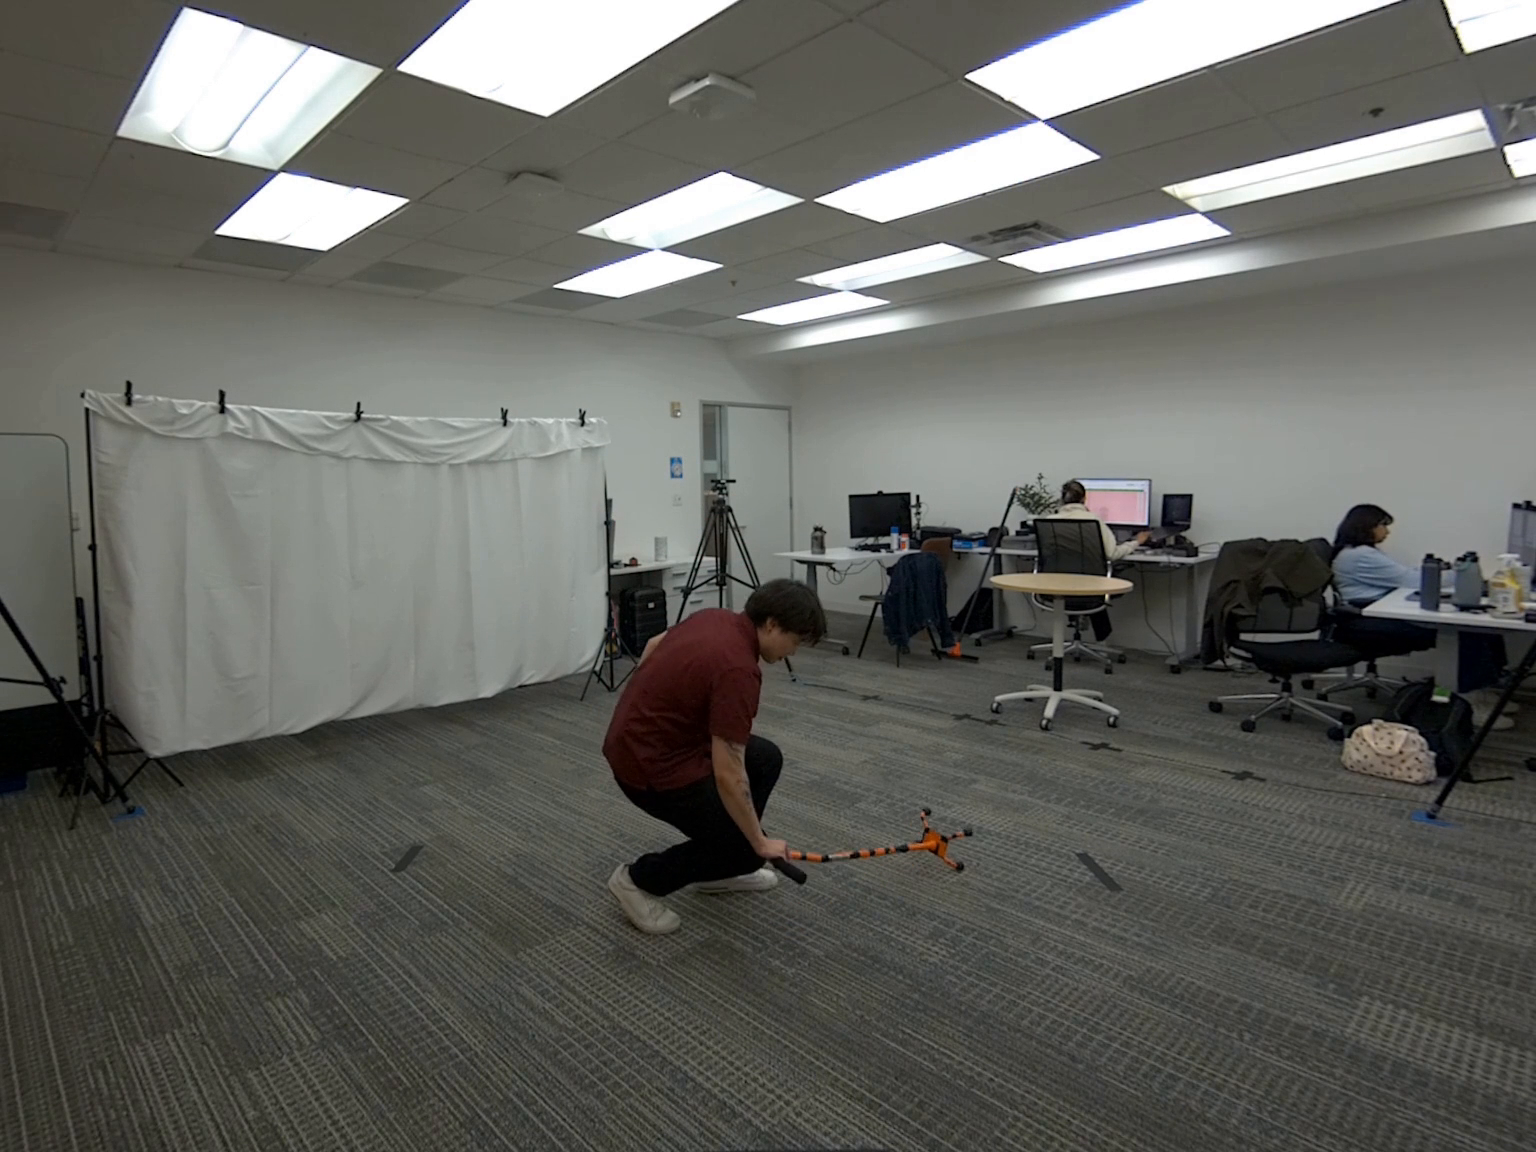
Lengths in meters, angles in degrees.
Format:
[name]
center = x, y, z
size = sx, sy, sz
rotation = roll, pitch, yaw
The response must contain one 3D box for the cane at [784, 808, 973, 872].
[cane]
center = 0.340, 0.888, 2.783
size = 0.214, 0.151, 0.877
rotation = 17, 4, 44
